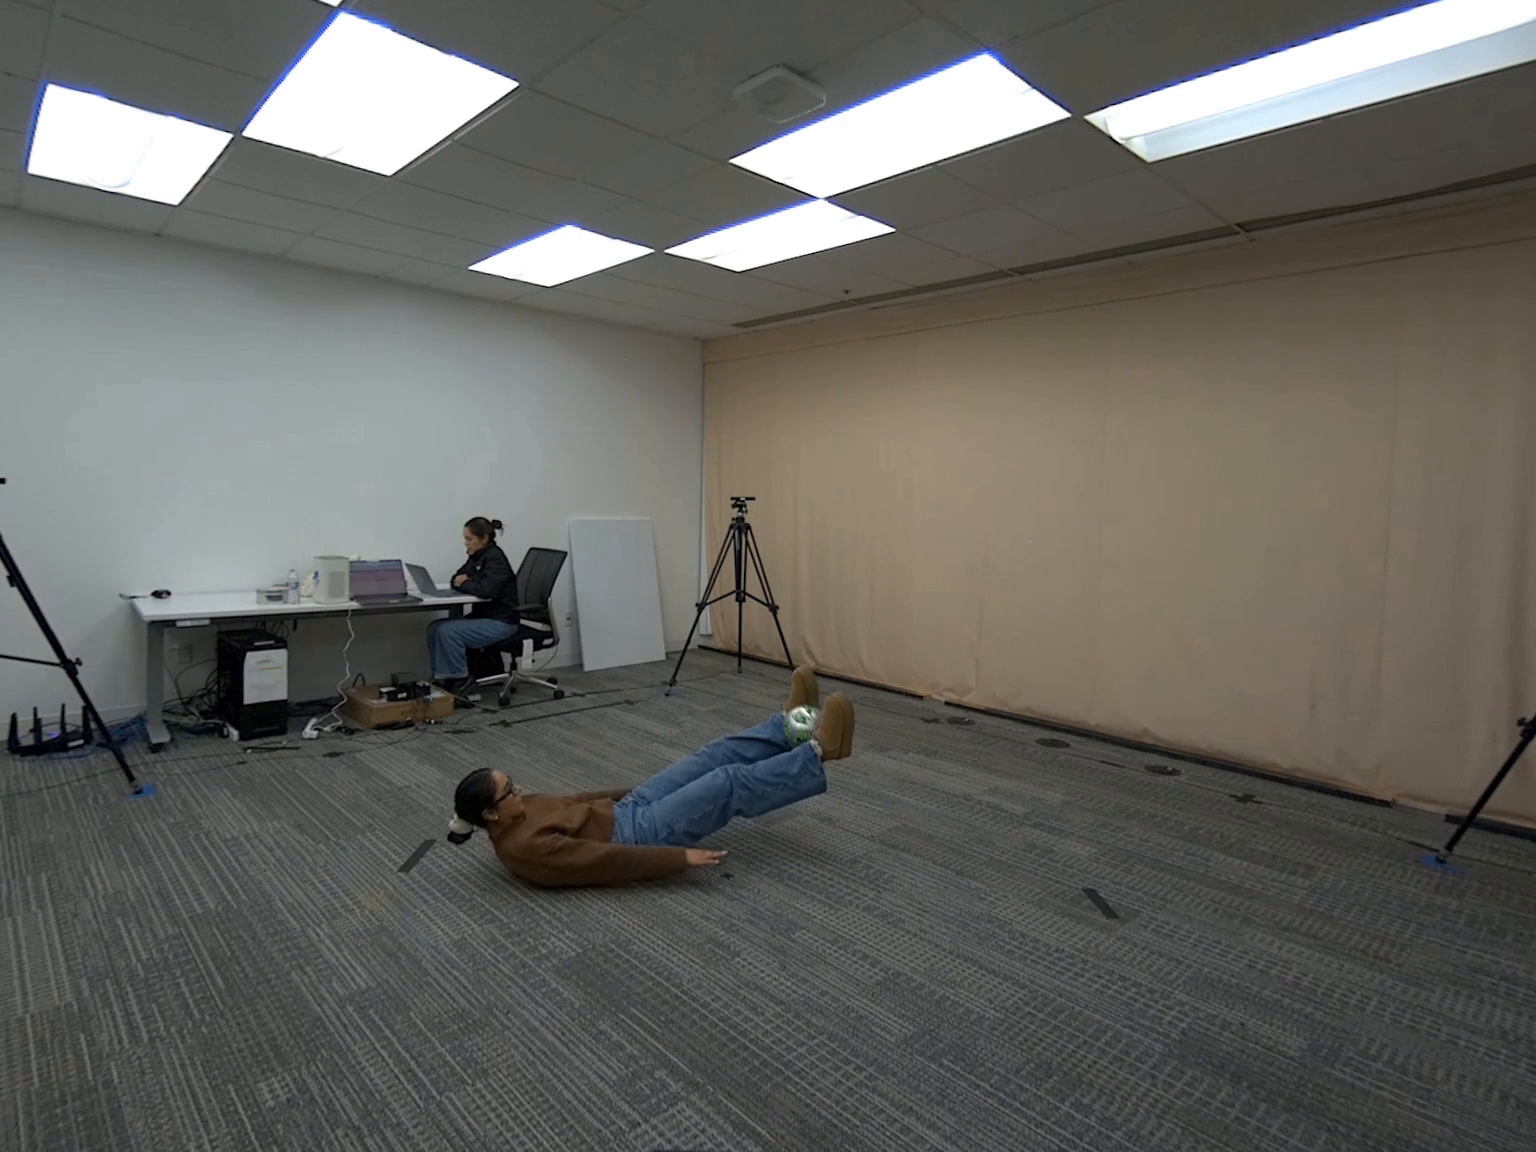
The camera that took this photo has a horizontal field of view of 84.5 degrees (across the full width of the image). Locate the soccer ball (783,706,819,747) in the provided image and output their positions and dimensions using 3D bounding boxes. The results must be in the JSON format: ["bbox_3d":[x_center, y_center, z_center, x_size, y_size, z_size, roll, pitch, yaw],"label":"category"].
[{"bbox_3d":[0.135,0.624,3.440,0.187,0.187,0.188,1,4,-1],"label":"soccer ball"}]
